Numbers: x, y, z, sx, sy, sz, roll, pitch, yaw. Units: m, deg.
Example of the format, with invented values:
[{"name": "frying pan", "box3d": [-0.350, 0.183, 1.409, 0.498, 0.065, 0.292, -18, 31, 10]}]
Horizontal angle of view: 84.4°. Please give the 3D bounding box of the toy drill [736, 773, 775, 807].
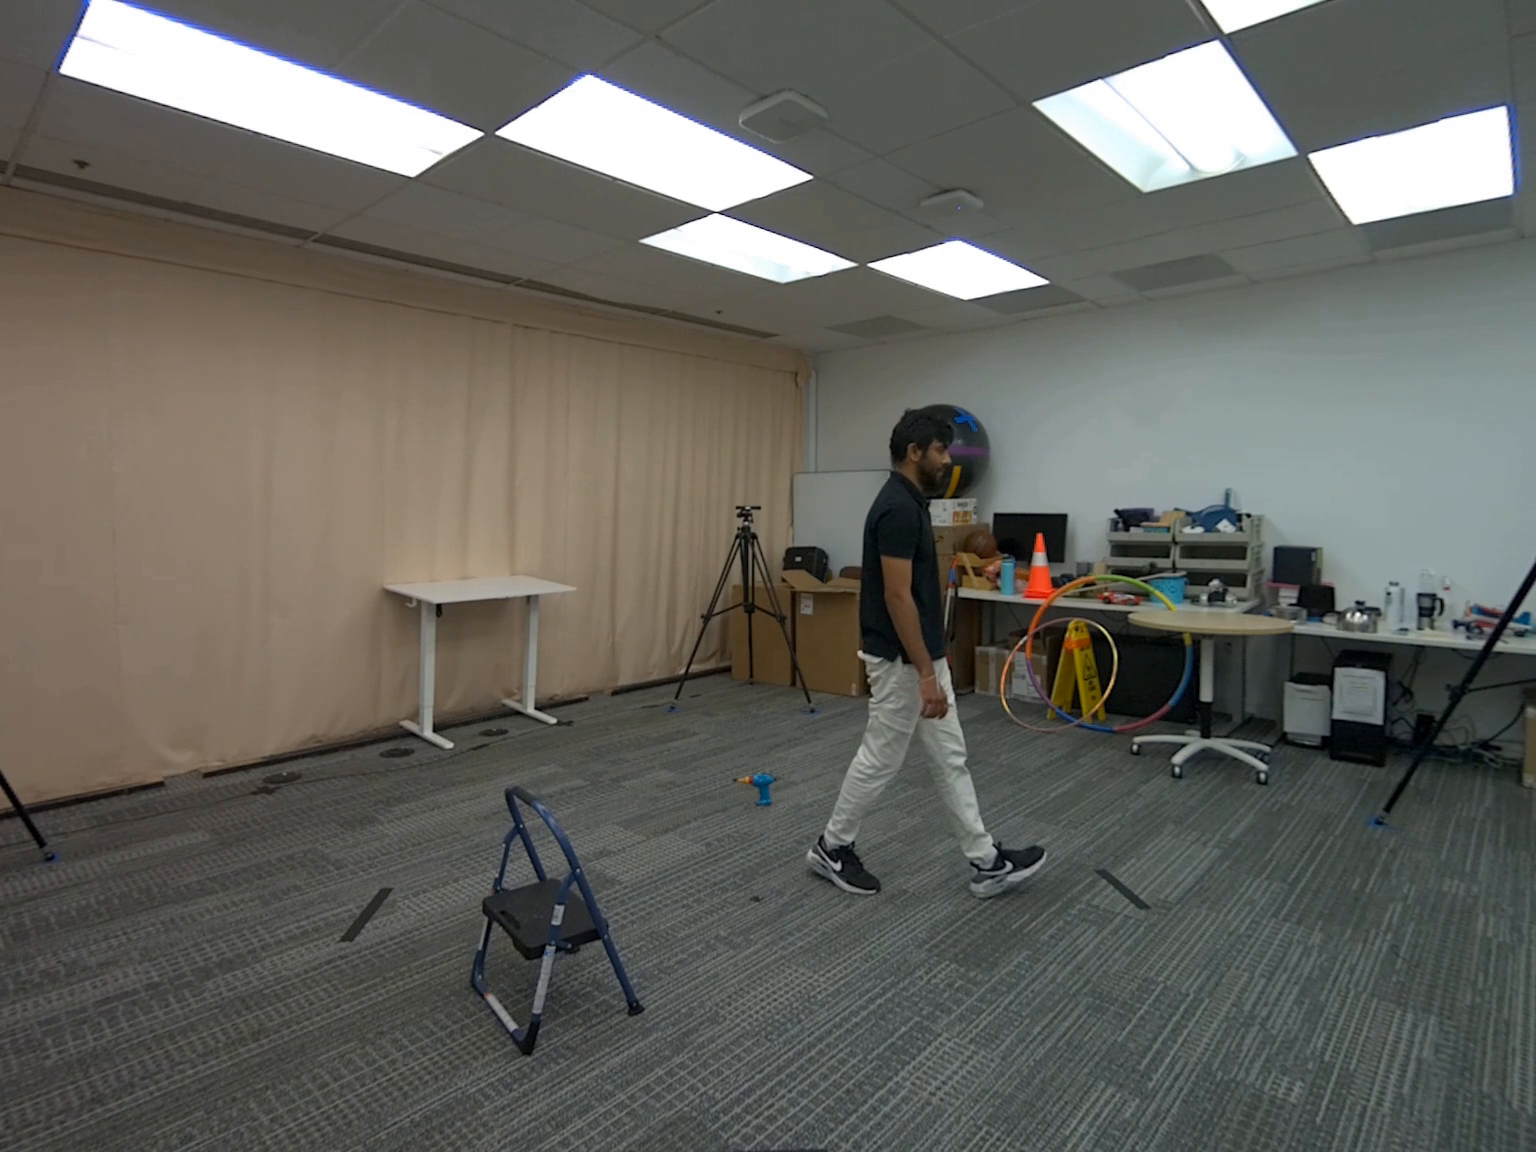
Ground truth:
[{"name": "toy drill", "box3d": [-0.055, 0.998, 3.954, 0.171, 0.146, 0.061, -1, -2, 5]}]
